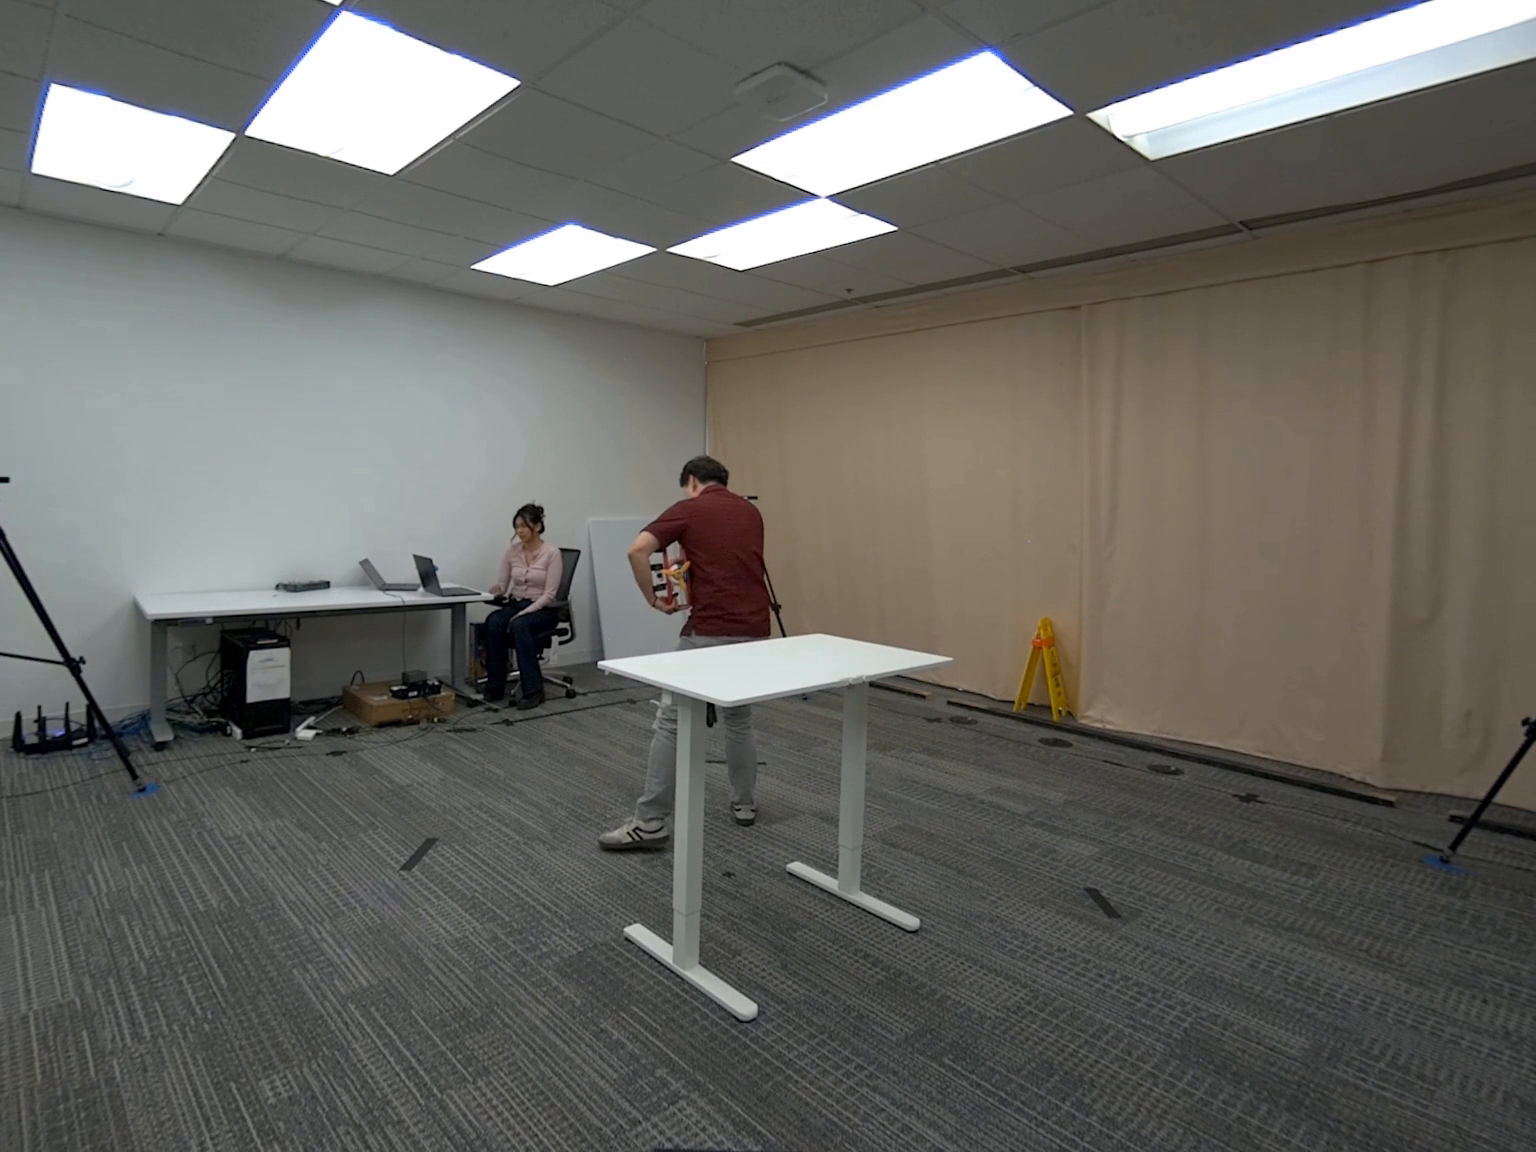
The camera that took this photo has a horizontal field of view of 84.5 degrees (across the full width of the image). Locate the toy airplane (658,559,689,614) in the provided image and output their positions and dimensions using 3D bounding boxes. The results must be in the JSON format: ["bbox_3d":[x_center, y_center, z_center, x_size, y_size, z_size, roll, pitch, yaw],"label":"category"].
[{"bbox_3d":[-0.411,-0.014,3.507,0.156,0.246,0.263,-5,24,1],"label":"toy airplane"}]
